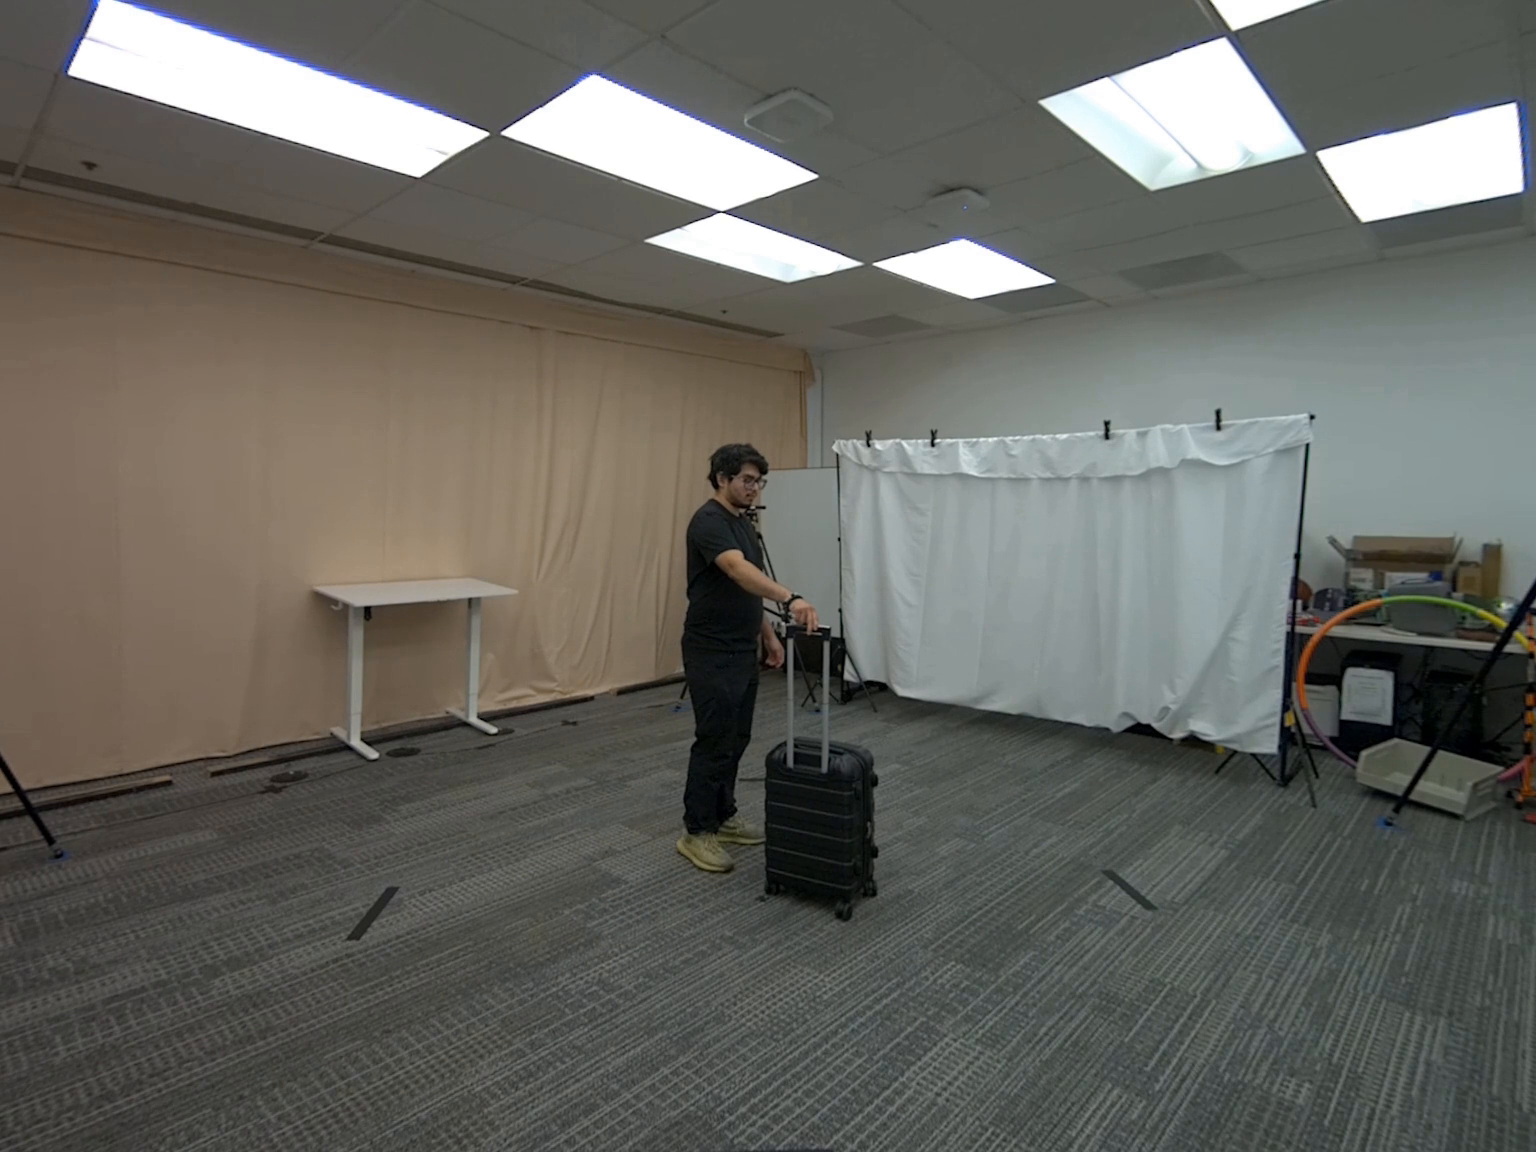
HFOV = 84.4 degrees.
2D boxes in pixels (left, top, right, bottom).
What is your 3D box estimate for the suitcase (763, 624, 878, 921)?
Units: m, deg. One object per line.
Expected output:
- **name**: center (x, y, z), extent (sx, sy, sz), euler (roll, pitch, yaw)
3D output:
- **suitcase**: center (0.191, 0.664, 3.001), extent (0.395, 0.978, 0.250), euler (2, 1, 30)
